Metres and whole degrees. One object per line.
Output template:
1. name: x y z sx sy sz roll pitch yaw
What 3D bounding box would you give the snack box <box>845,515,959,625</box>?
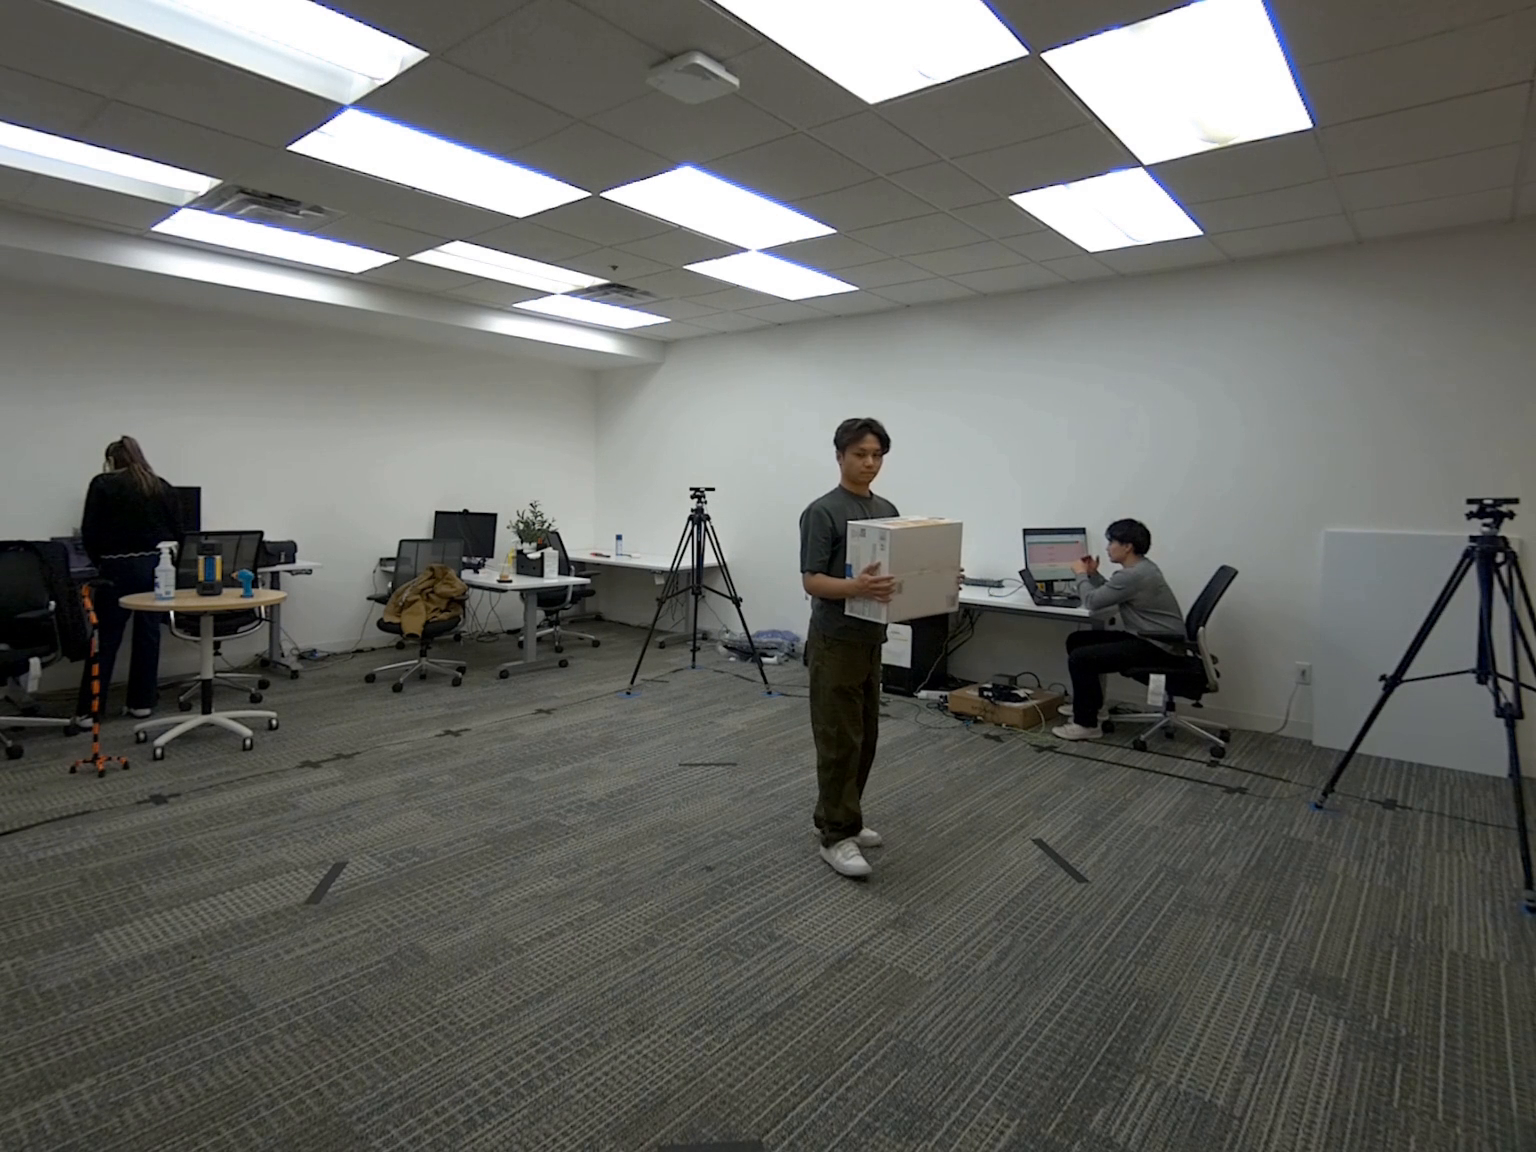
1. snack box: 0.488 -0.038 3.114 0.394 0.338 0.213 -7 10 -39
